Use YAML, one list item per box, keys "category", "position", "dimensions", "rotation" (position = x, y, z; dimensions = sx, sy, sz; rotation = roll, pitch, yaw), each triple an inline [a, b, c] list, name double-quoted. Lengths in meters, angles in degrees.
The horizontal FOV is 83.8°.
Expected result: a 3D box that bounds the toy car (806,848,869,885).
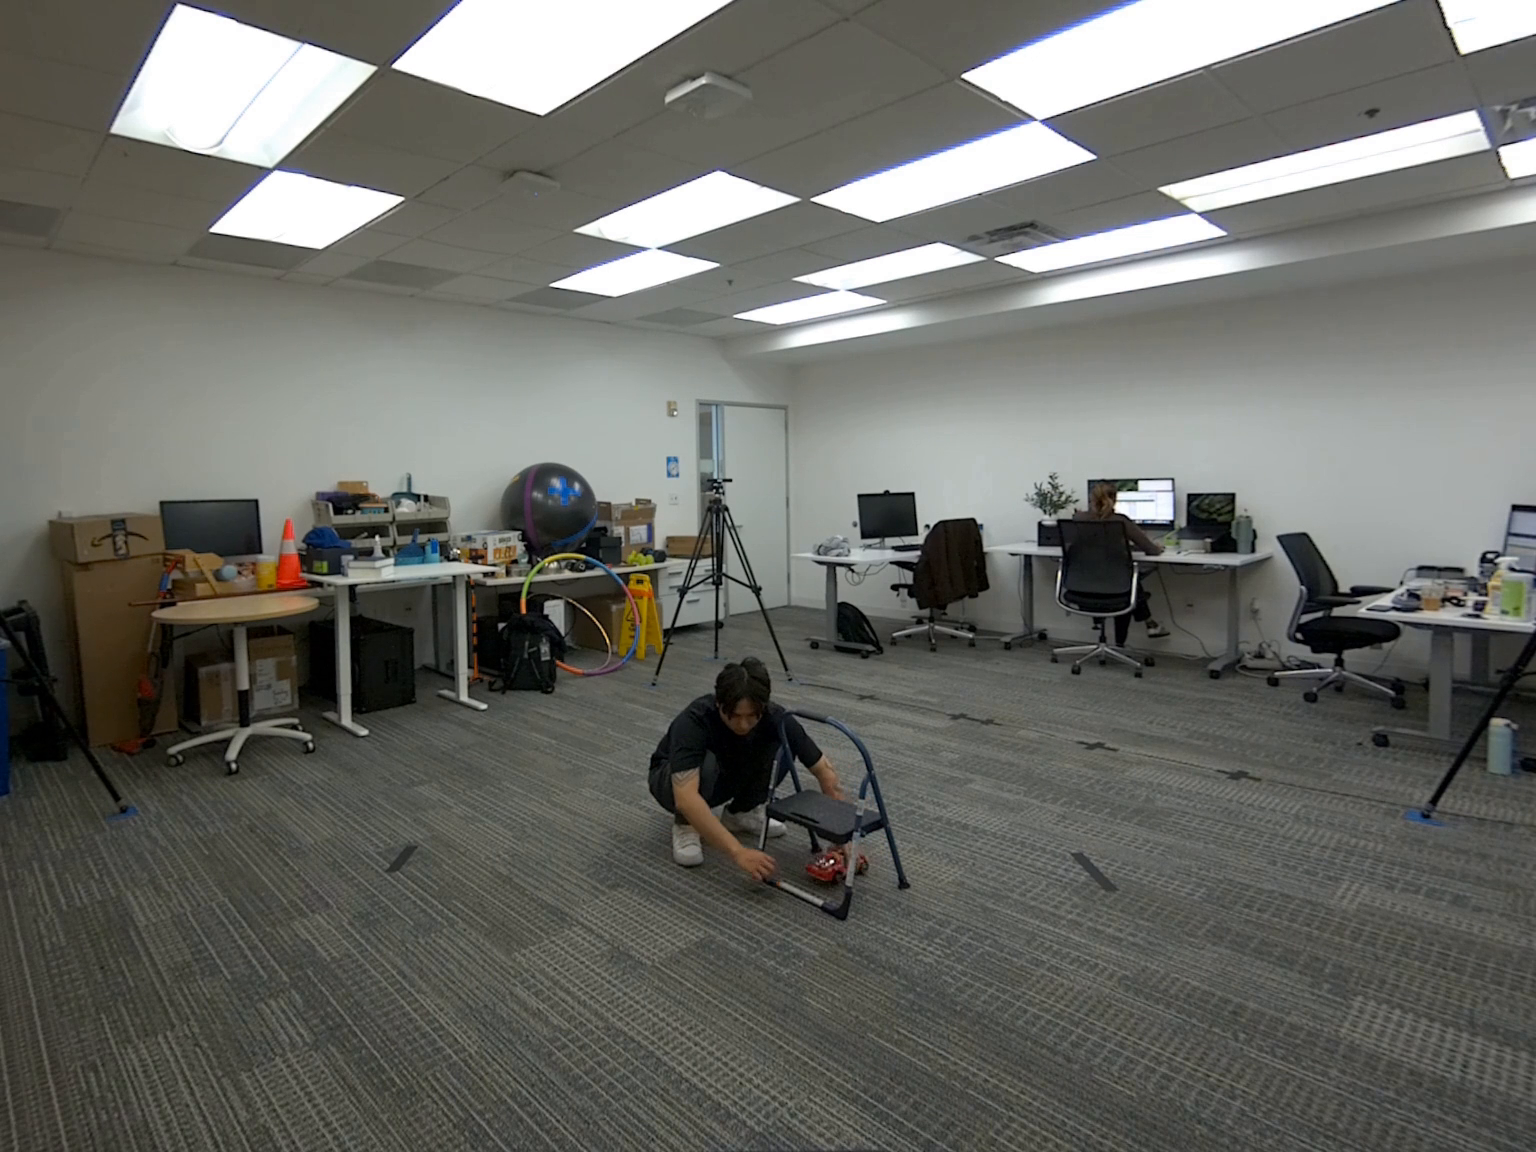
- category: "toy car"
  position: [0.235, 1.015, 2.986]
  dimensions: [0.246, 0.083, 0.134]
  rotation: [15, -7, -44]
